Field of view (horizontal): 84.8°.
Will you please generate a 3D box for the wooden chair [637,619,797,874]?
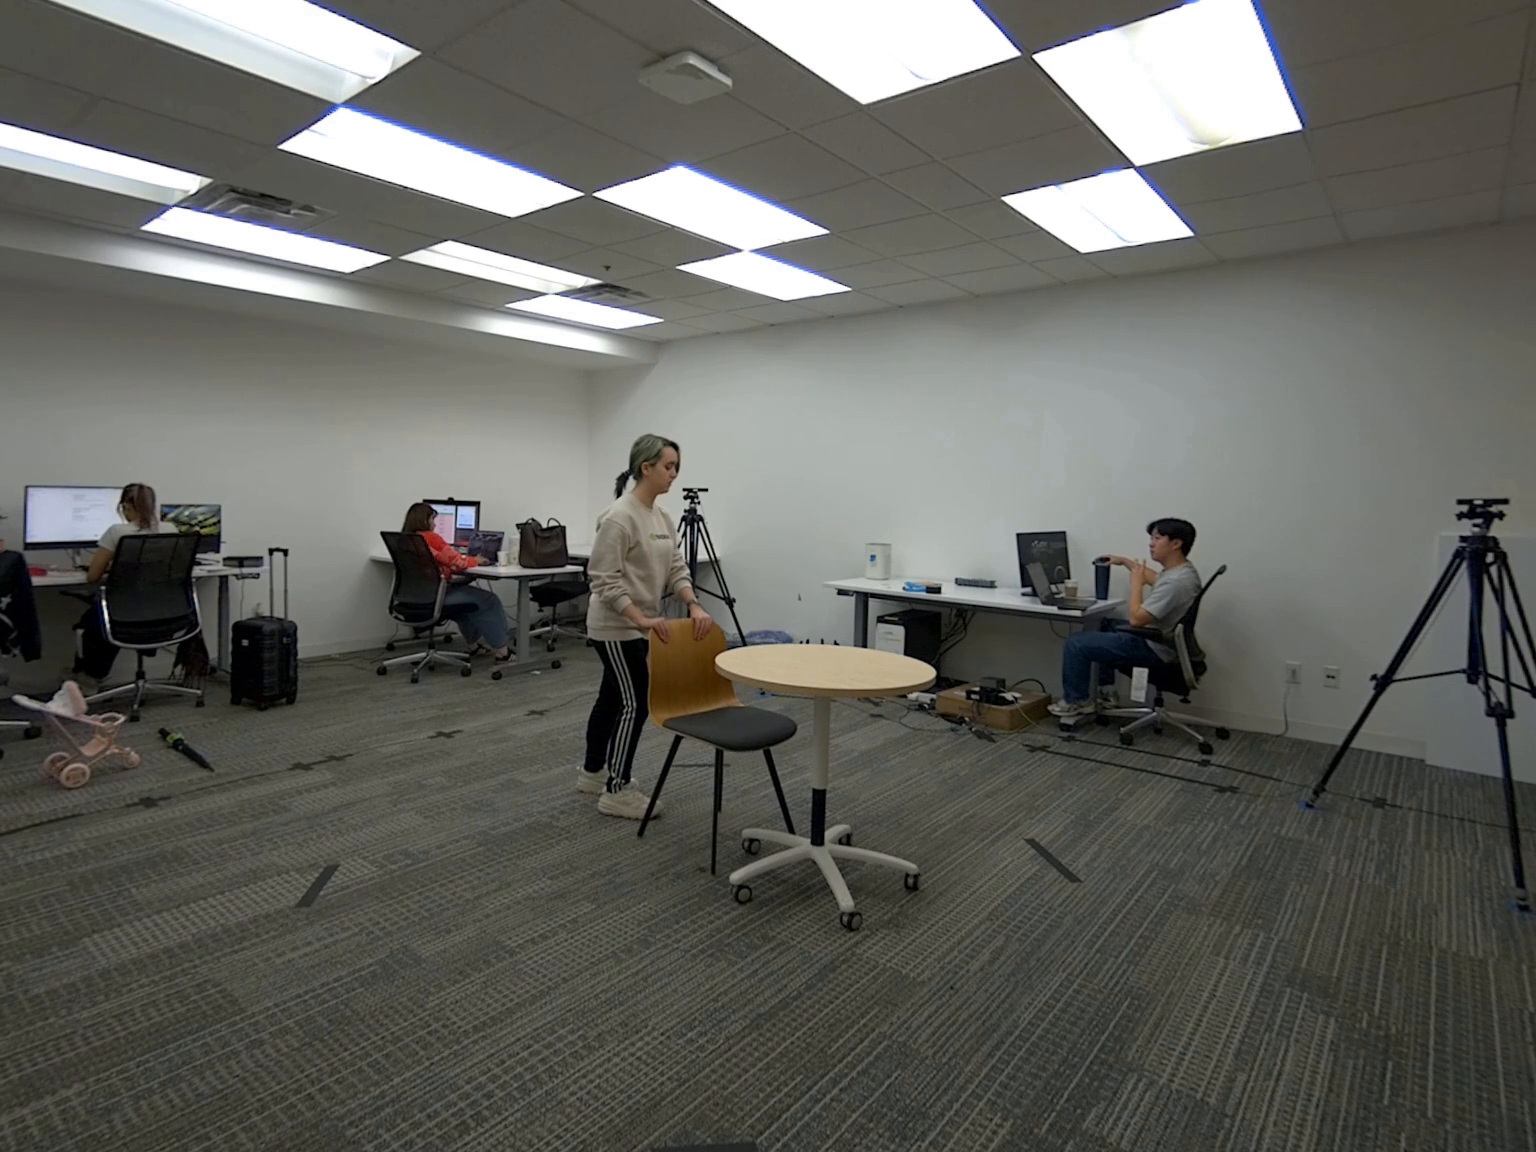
[{"bbox_3d":[-0.196,0.621,3.343,0.463,0.878,0.539,-1,0,-44],"label":"wooden chair"}]
